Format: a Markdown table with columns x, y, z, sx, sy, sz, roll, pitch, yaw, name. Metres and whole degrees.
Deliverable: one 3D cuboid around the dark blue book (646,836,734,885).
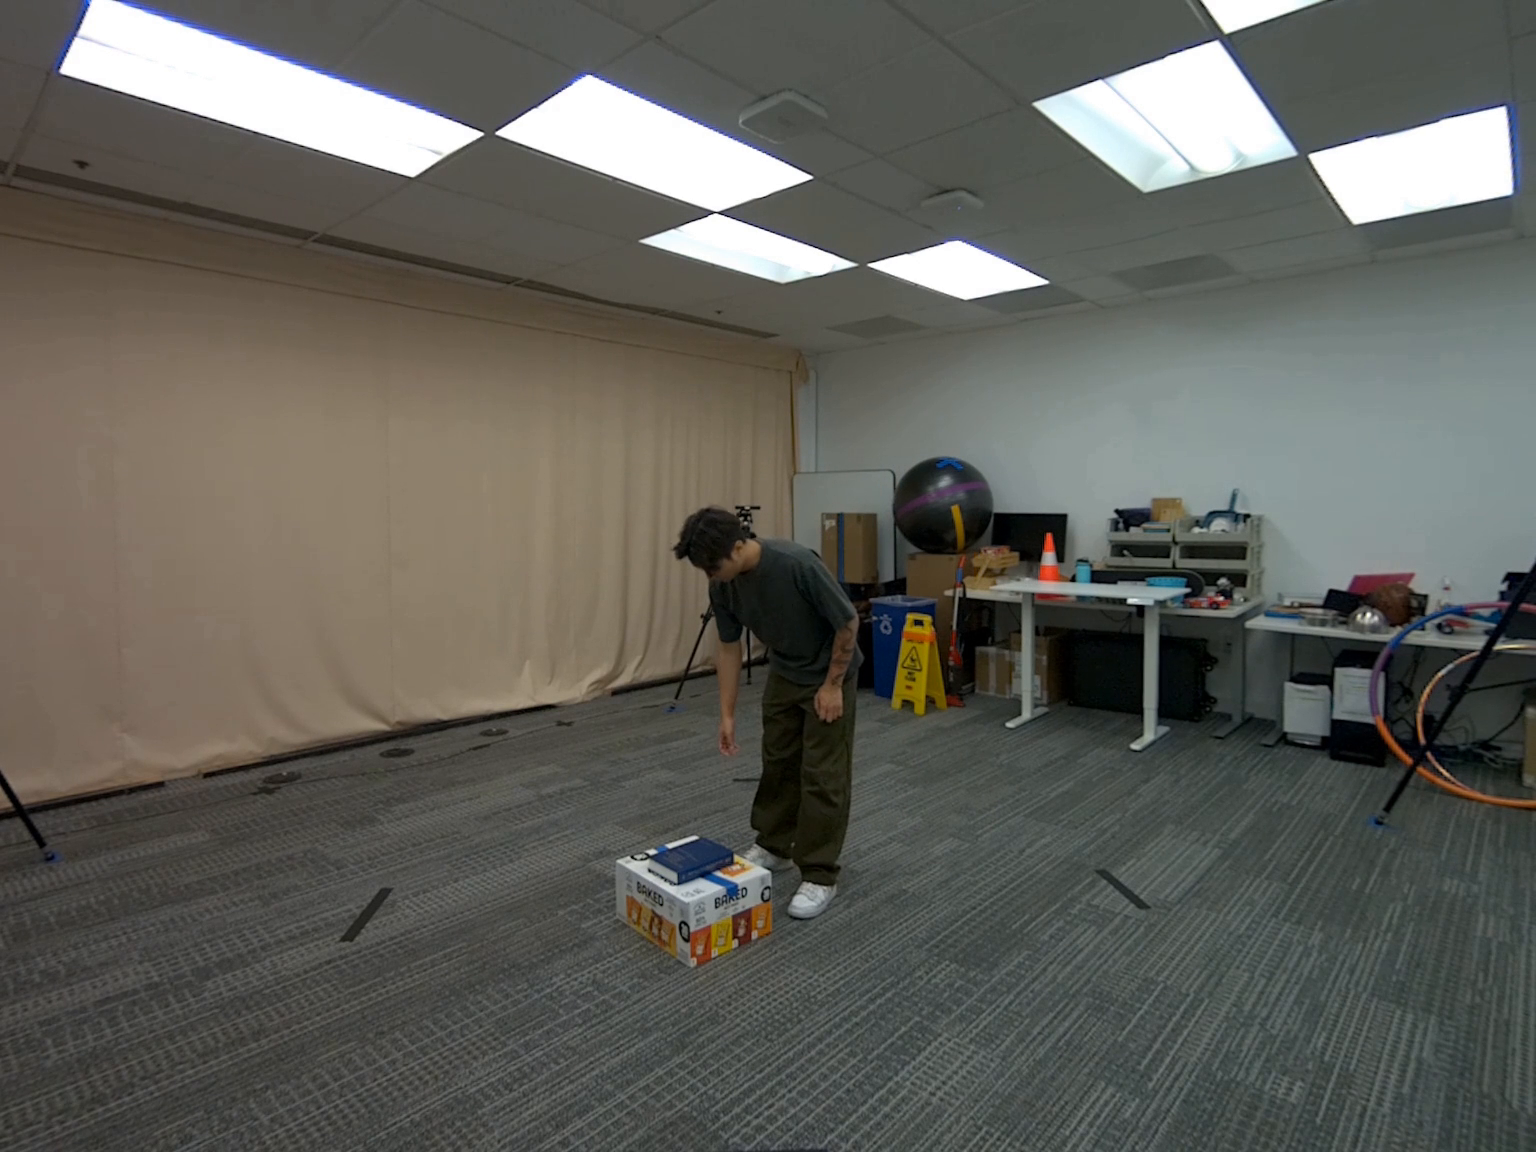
| x | y | z | sx | sy | sz | roll | pitch | yaw | name |
| --- | --- | --- | --- | --- | --- | --- | --- | --- | --- |
| -0.263 | 0.950 | 2.787 | 0.238 | 0.045 | 0.169 | -5 | 7 | -42 | dark blue book |
